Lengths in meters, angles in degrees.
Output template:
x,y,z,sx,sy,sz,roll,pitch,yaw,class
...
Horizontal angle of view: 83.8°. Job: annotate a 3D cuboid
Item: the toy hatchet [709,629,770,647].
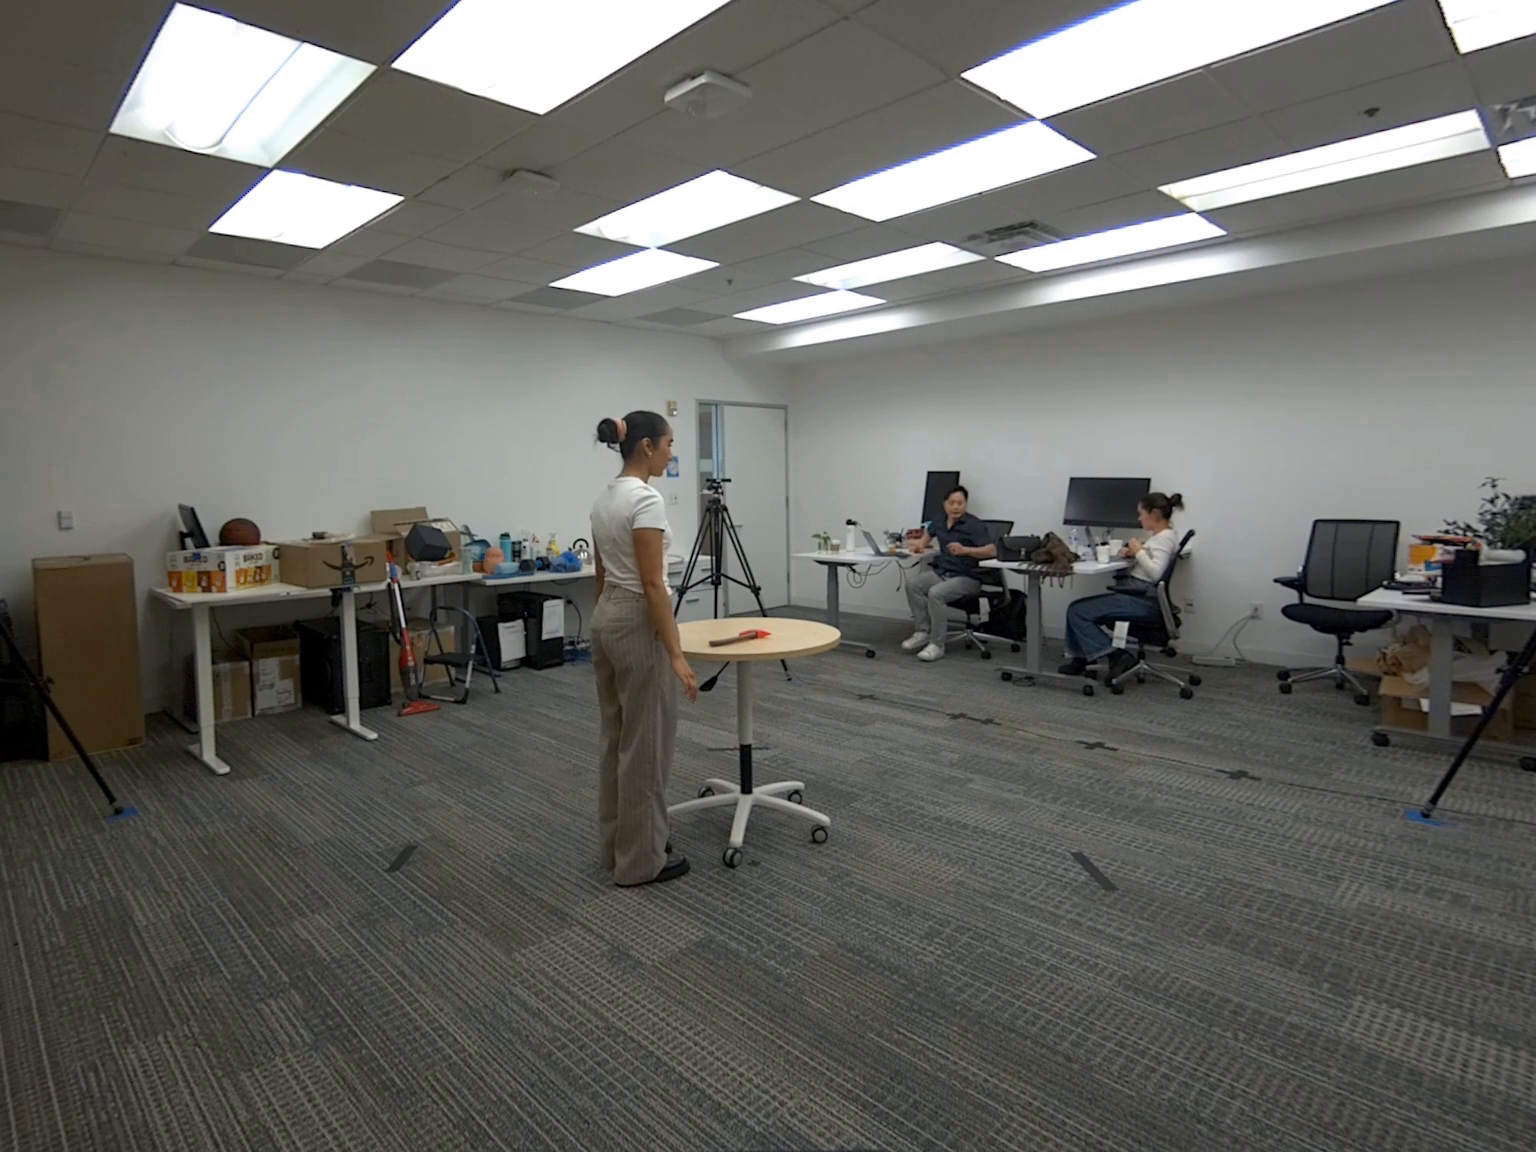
x,y,z,sx,sy,sz,roll,pitch,yaw,class
-0.123,0.233,3.250,0.264,0.029,0.135,-7,8,-34,toy hatchet
